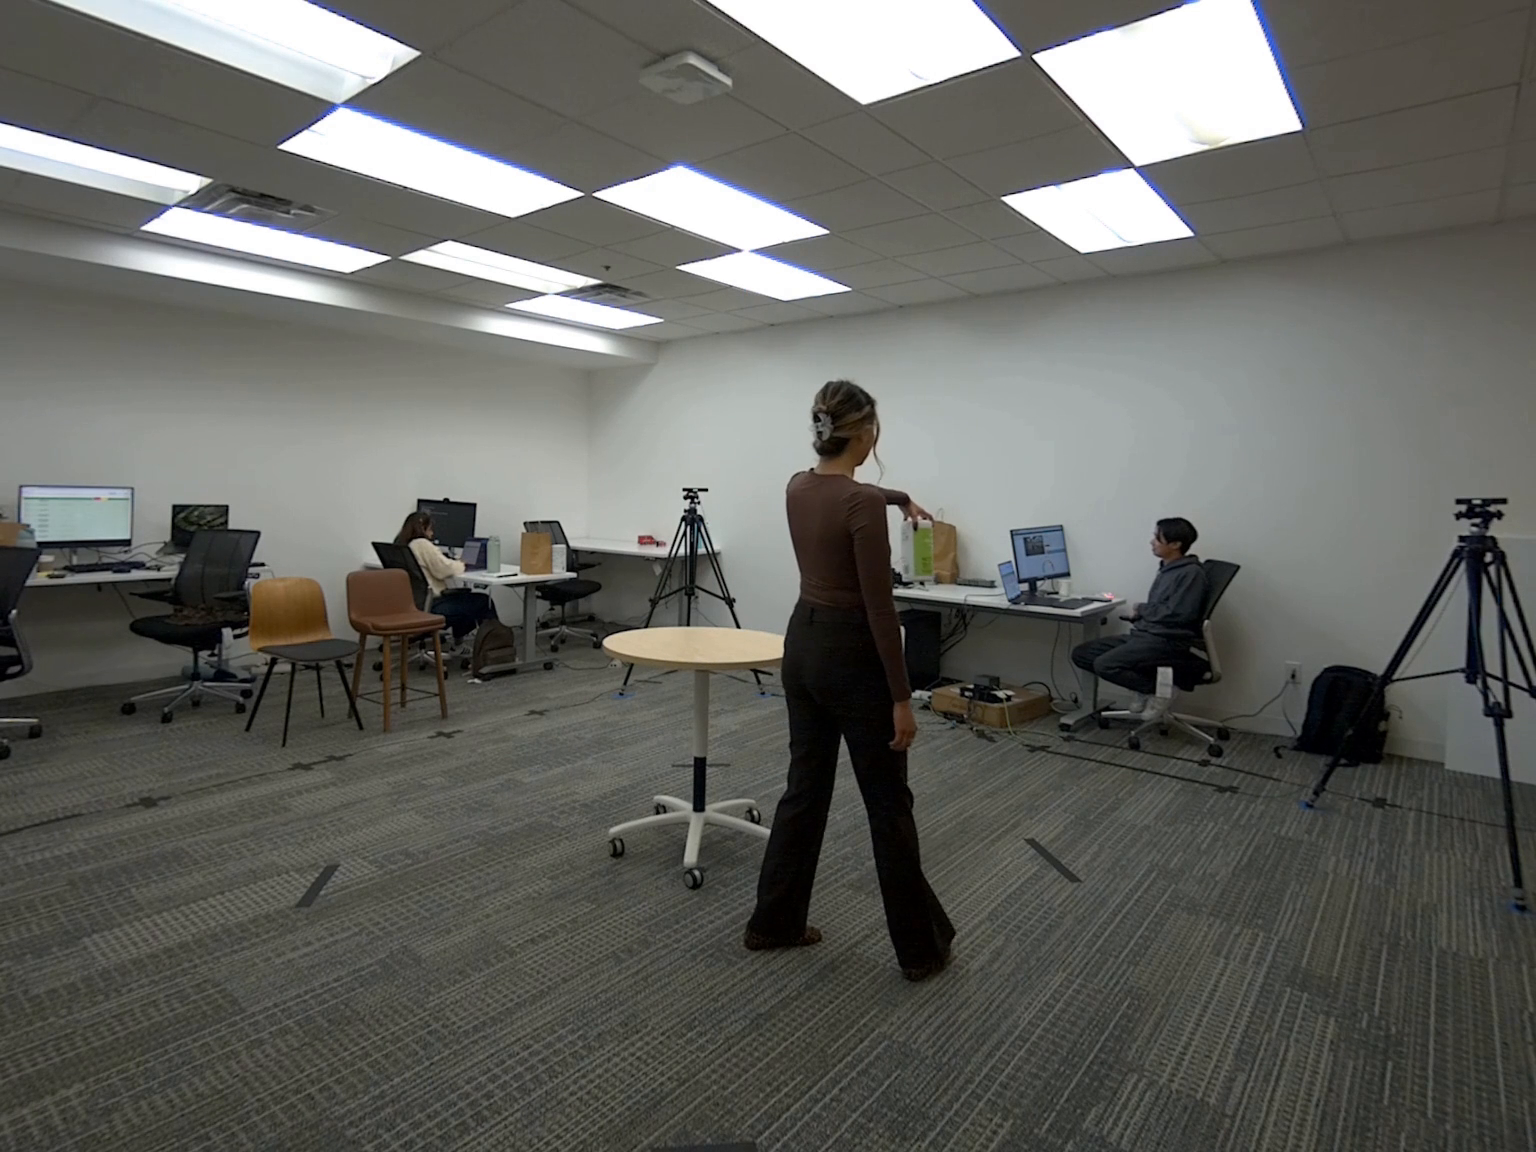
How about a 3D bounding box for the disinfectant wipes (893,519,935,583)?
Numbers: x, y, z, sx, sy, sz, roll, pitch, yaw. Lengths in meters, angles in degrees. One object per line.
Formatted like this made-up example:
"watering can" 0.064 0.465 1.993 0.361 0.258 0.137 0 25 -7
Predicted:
"disinfectant wipes" 0.520 -0.091 3.014 0.118 0.218 0.117 1 -4 -2
